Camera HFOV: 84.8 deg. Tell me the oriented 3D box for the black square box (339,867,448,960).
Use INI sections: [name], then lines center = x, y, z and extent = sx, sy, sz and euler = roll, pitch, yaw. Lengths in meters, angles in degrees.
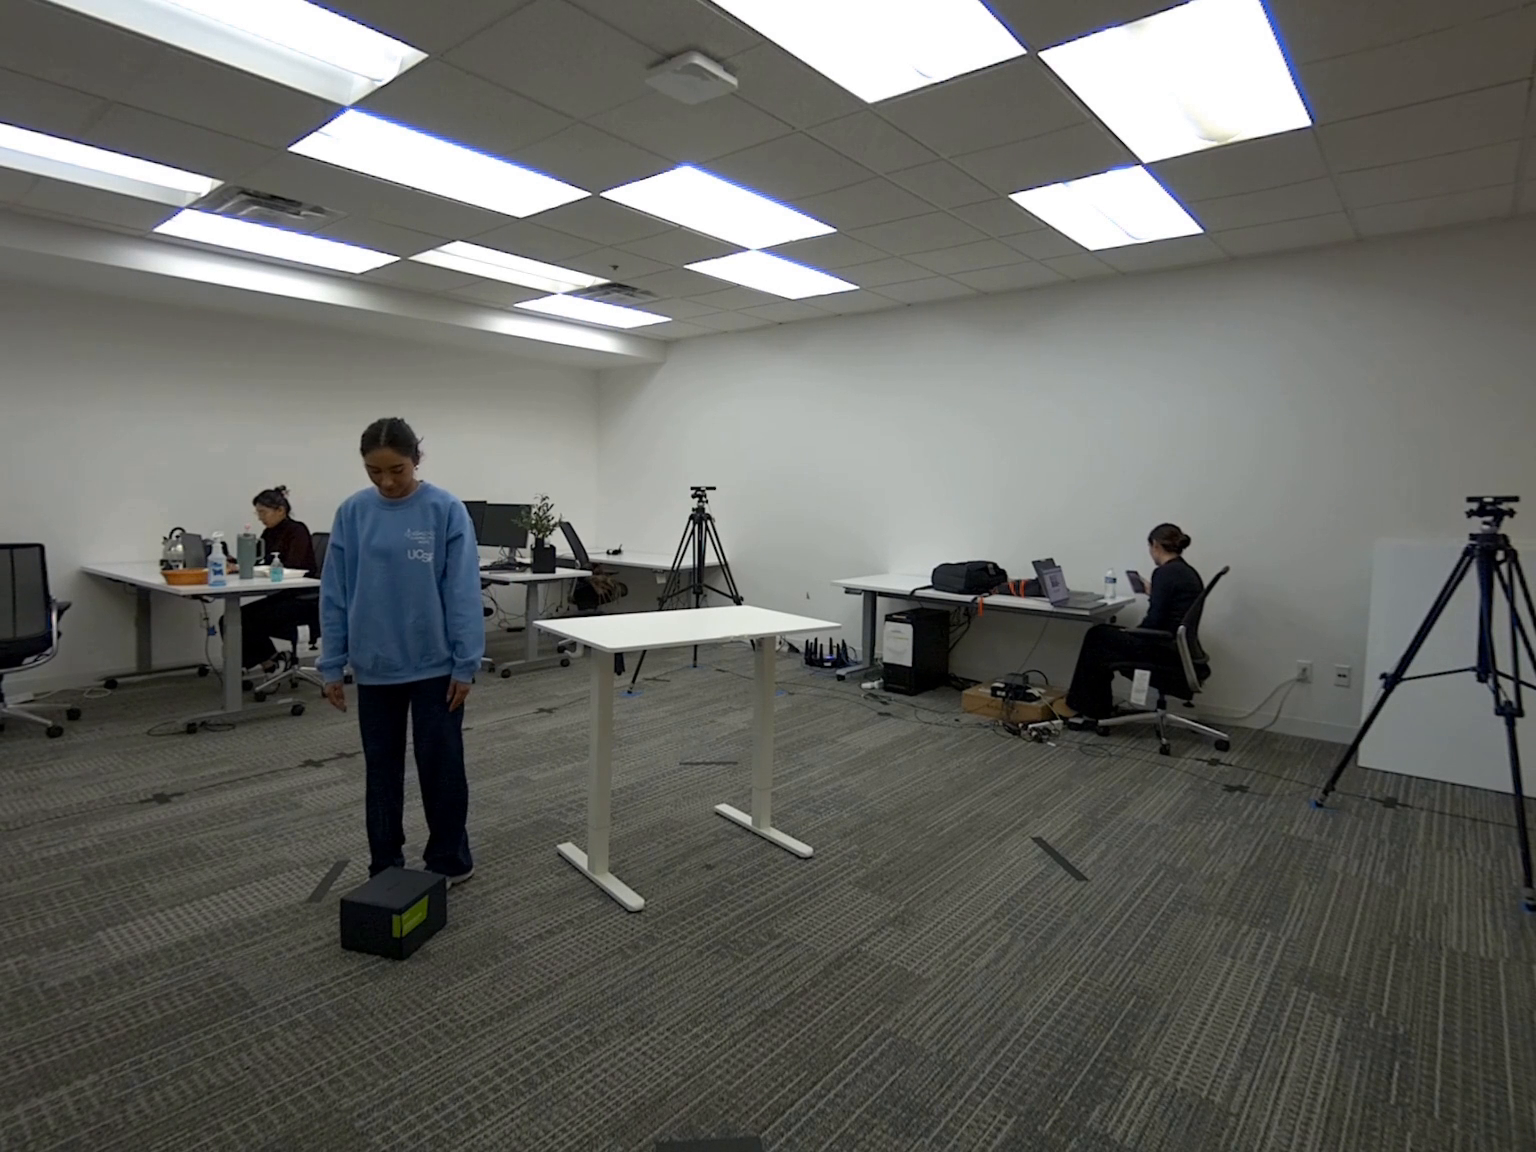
[black square box]
center = -1.151, 1.022, 2.601
extent = 0.220, 0.155, 0.225
euler = 2, 5, 14
